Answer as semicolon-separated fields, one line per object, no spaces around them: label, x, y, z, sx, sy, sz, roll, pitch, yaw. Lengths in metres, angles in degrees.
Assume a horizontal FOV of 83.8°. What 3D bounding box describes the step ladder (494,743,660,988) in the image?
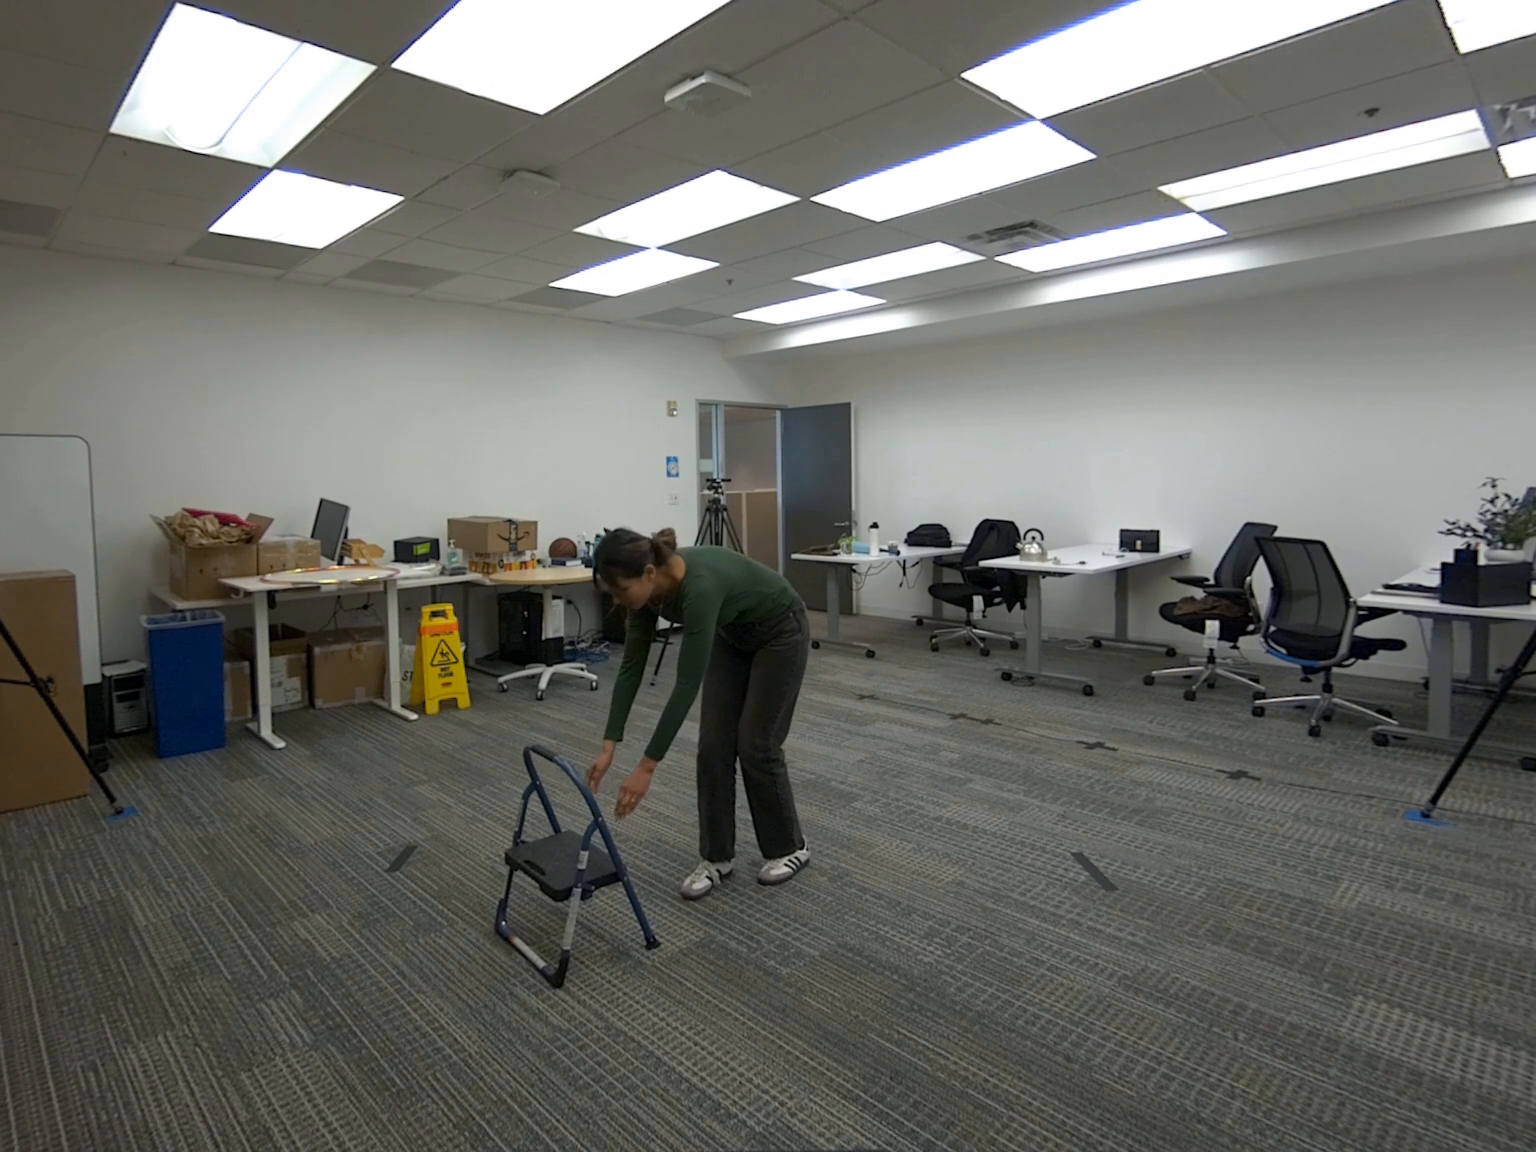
step ladder;-0.597;0.811;2.605;0.340;0.604;0.444;-5;6;-41
